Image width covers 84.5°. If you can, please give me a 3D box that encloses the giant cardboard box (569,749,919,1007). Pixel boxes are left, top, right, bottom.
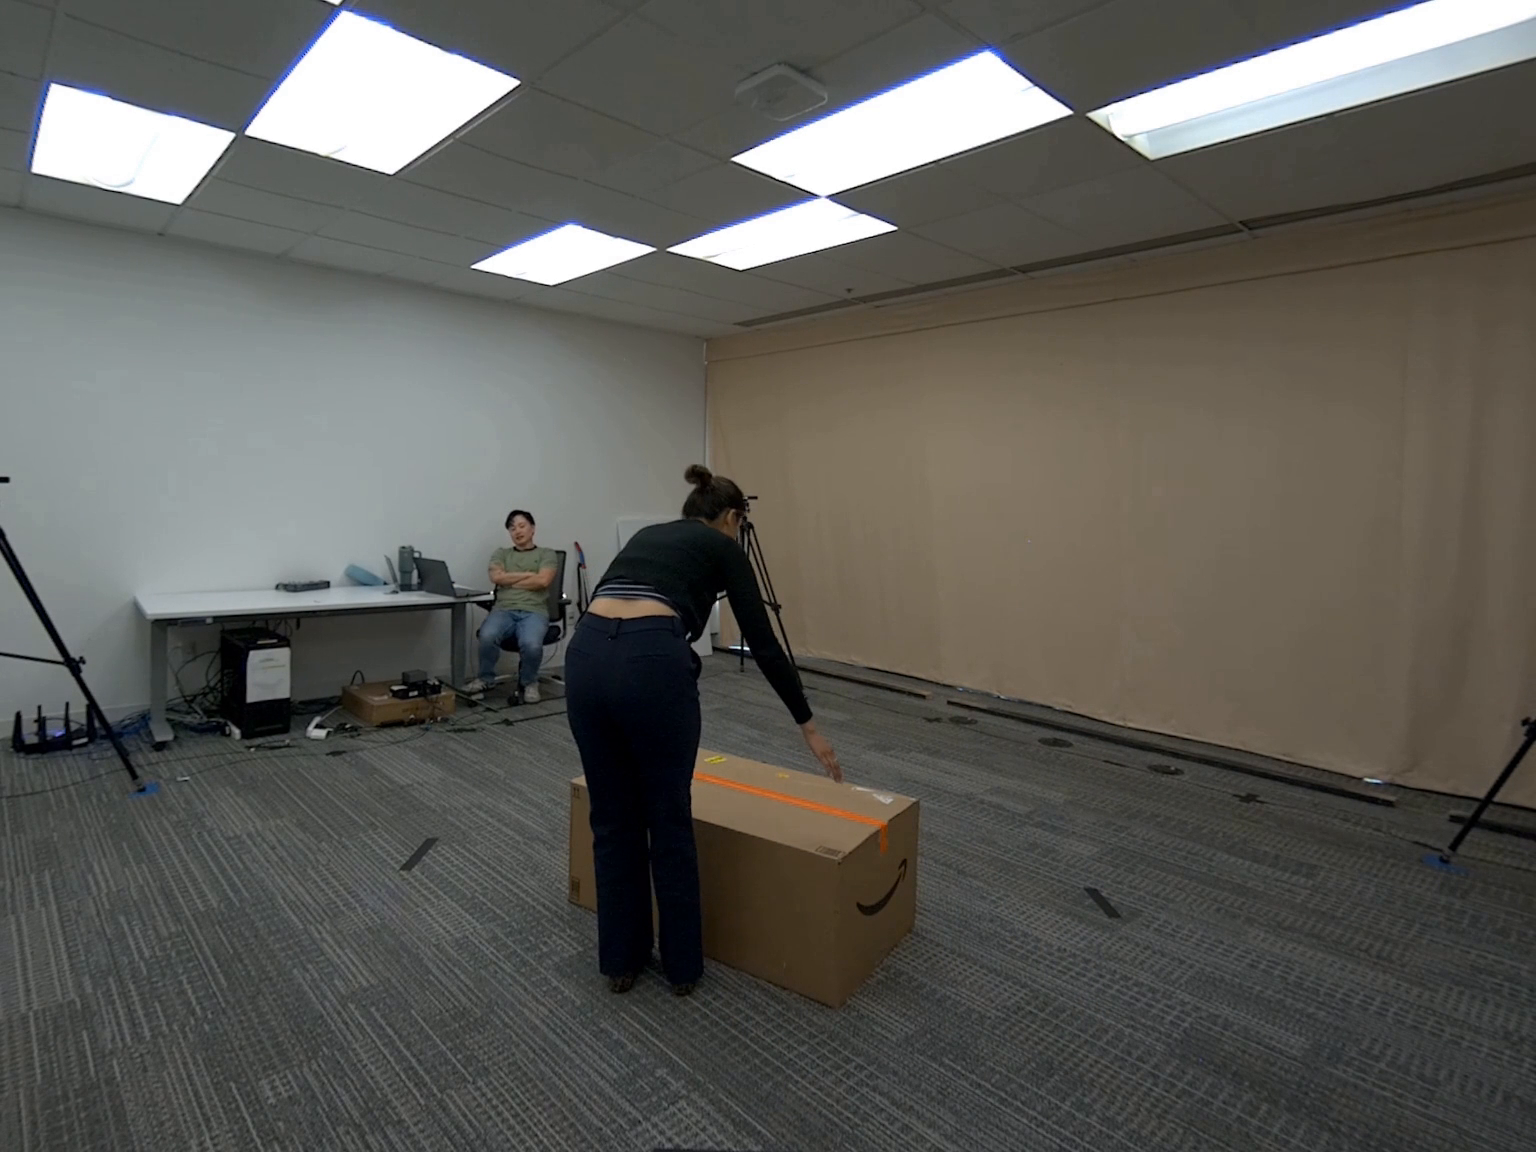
[{"bbox_3d":[-0.098,0.919,2.805,1.050,0.425,0.566,5,6,33],"label":"giant cardboard box"}]
